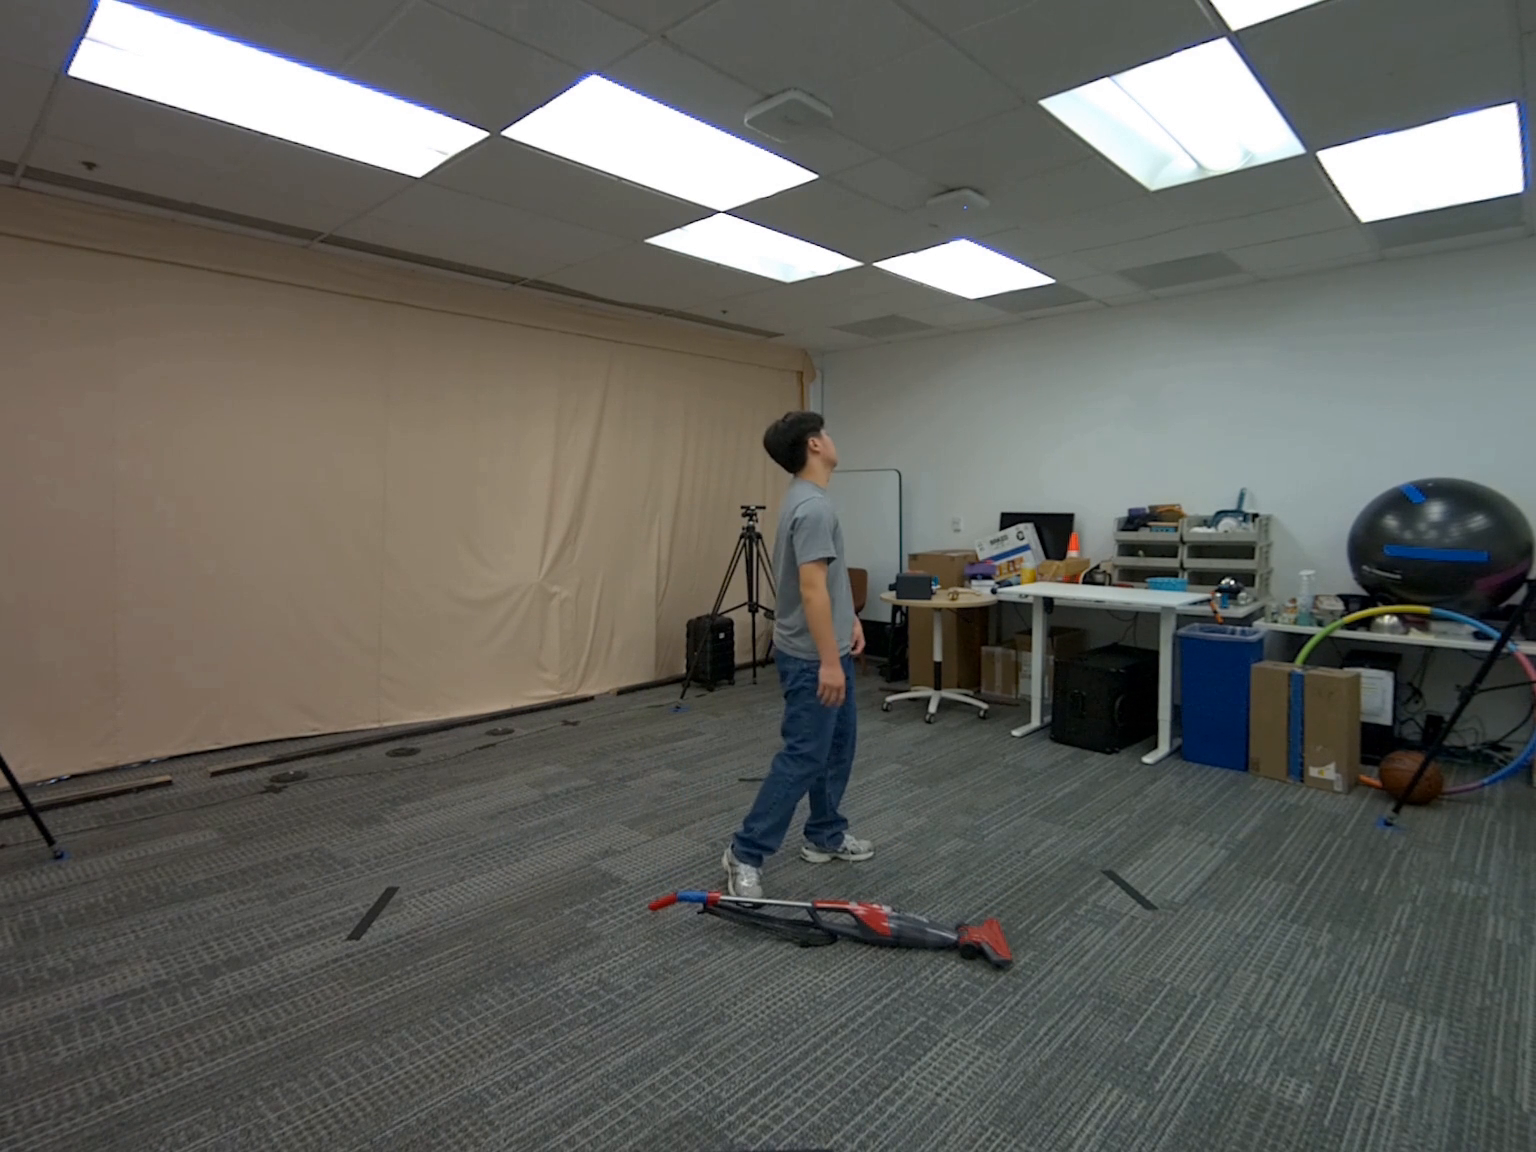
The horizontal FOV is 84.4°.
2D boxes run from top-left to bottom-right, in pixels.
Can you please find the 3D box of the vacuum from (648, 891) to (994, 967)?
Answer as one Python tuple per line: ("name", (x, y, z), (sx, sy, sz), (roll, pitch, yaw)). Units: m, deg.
("vacuum", (0.127, 1.107, 2.715), (1.059, 0.143, 0.252), (2, 13, 8))
